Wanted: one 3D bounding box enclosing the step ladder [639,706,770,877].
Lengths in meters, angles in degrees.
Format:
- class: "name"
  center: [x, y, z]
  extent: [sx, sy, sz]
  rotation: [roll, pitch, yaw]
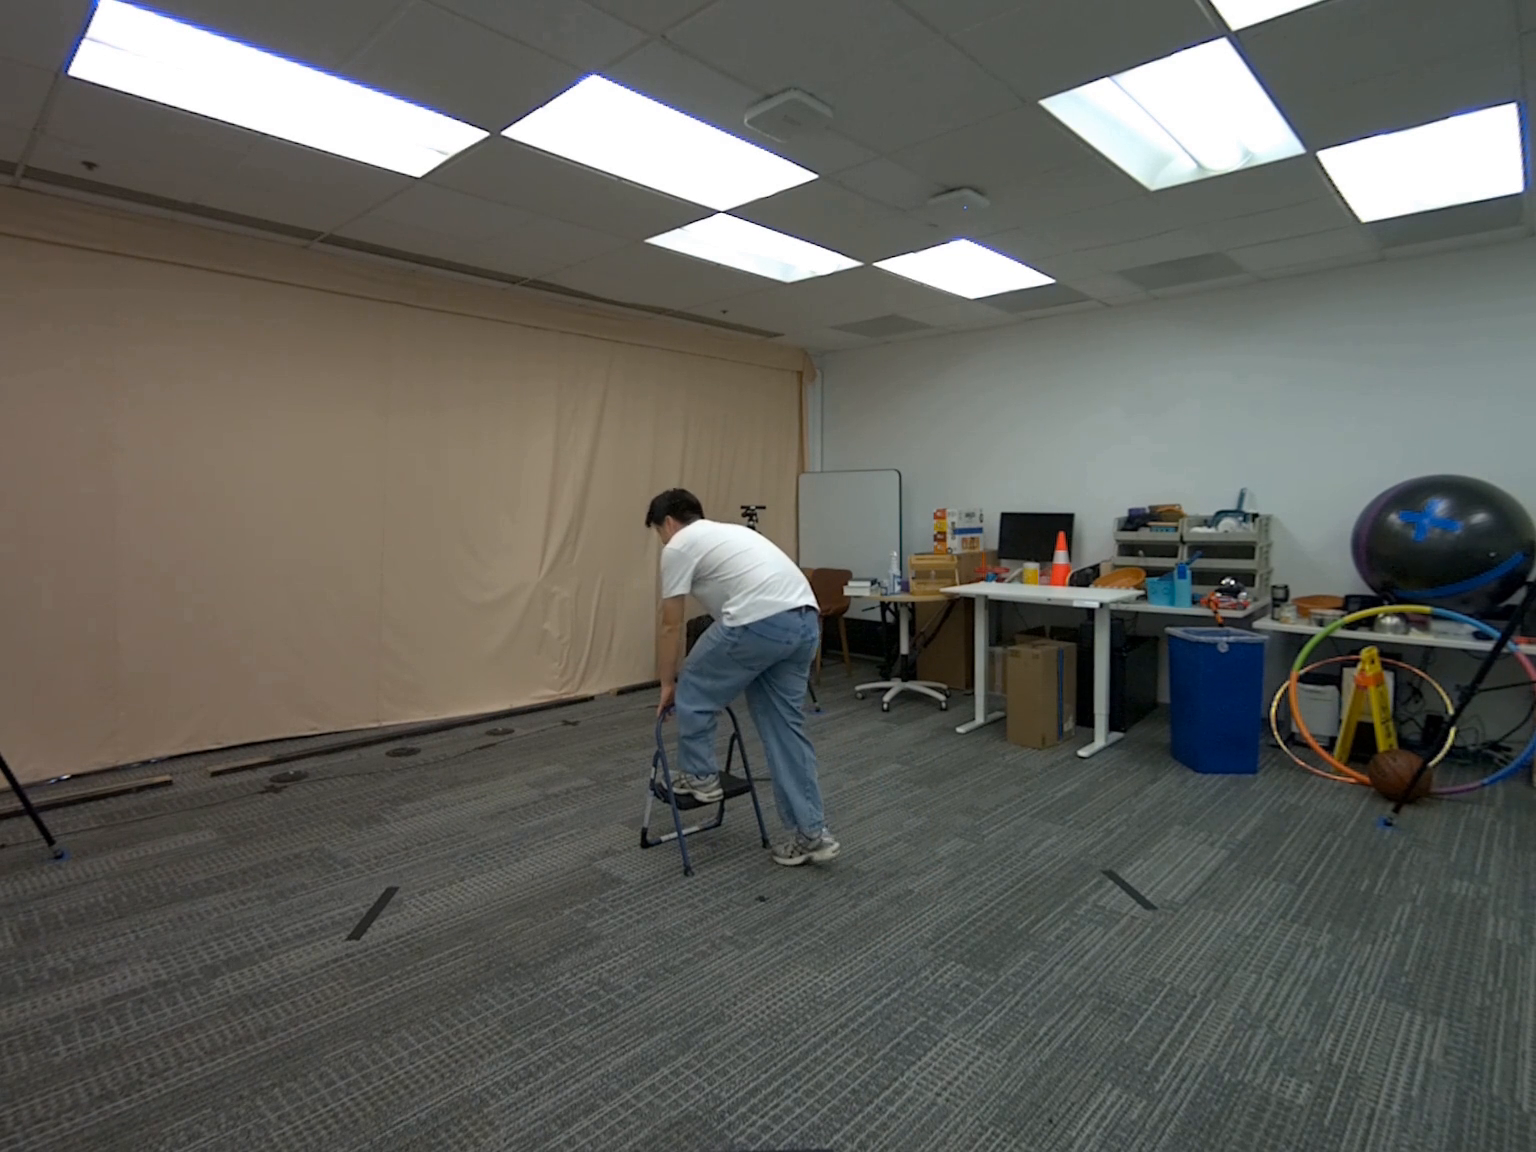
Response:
- class: "step ladder"
  center: [-0.258, 0.806, 3.423]
  extent: [0.417, 0.605, 0.361]
  rotation: [-3, 4, -40]
